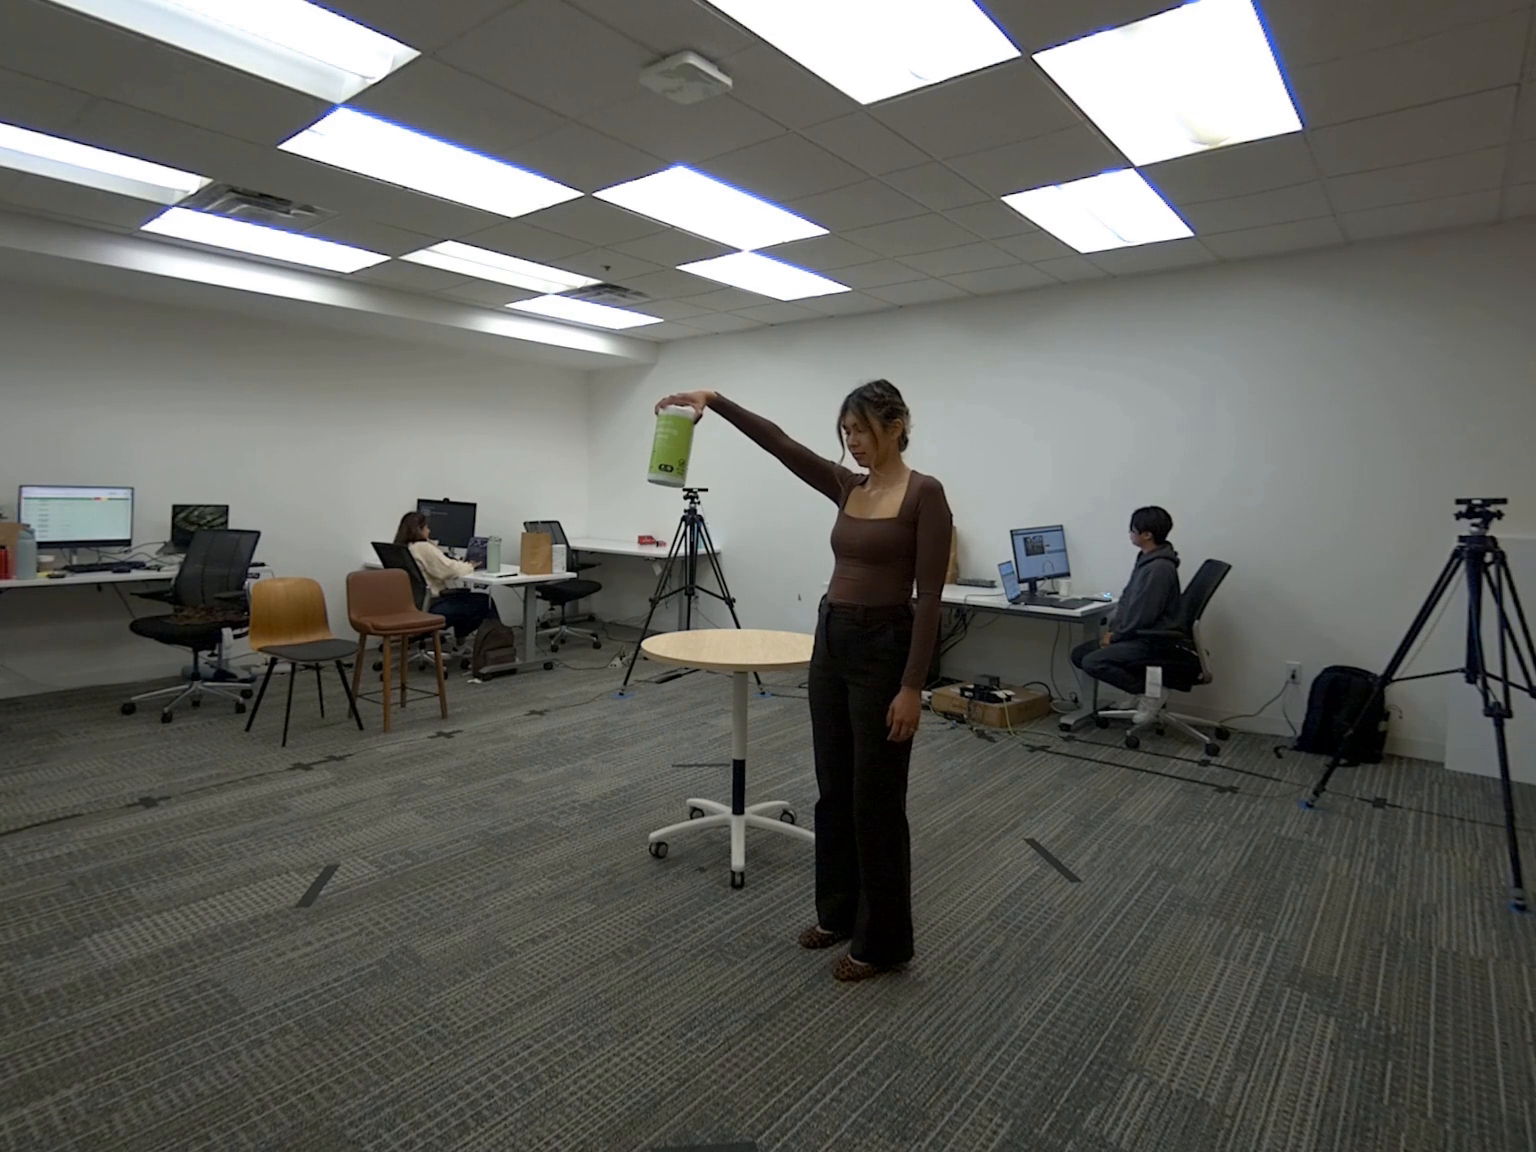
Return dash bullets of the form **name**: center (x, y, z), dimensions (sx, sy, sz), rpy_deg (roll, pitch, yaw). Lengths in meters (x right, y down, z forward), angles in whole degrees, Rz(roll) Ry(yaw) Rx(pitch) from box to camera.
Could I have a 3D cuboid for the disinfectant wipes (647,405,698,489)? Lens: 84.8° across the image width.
- **disinfectant wipes**: center (-0.279, -0.362, 2.391), dimensions (0.118, 0.218, 0.117), rpy_deg (9, -3, -2)
